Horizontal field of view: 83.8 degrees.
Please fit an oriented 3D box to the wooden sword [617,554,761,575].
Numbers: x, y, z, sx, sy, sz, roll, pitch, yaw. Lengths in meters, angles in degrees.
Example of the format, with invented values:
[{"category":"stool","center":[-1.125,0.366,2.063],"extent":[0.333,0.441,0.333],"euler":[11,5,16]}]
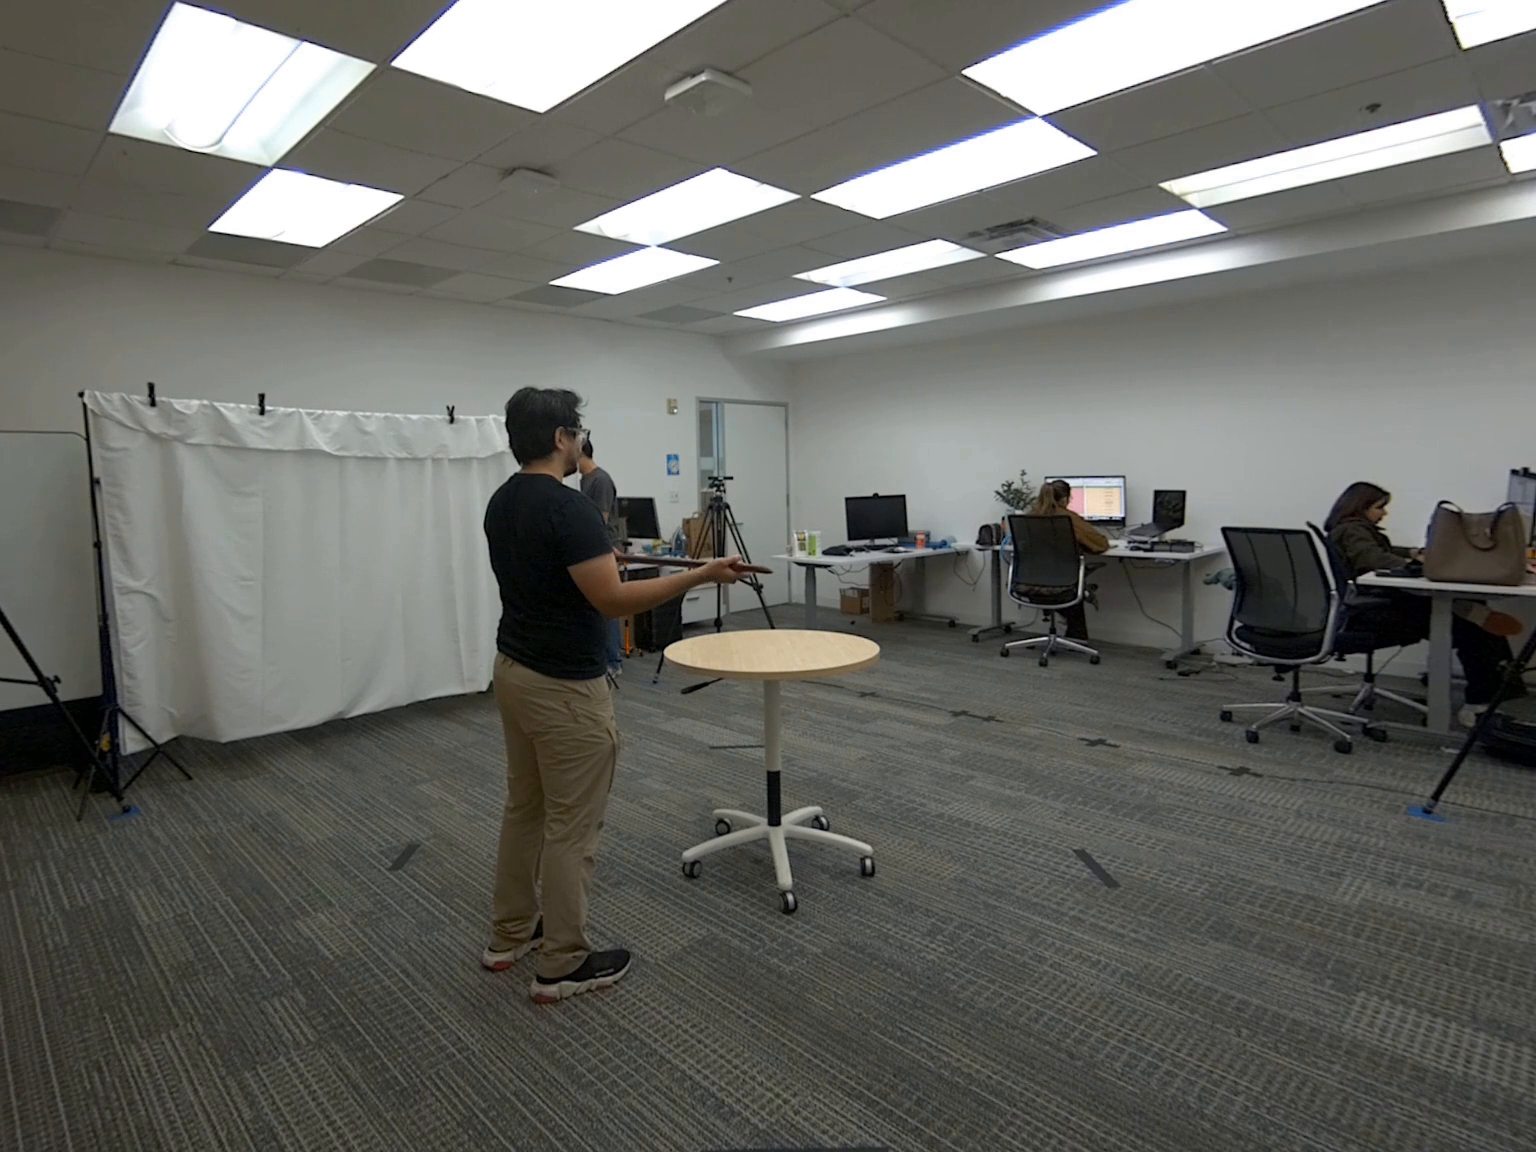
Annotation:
[{"category":"wooden sword","center":[-0.378,-0.050,2.642],"extent":[0.024,0.050,1.055],"euler":[-39,25,-29]}]
